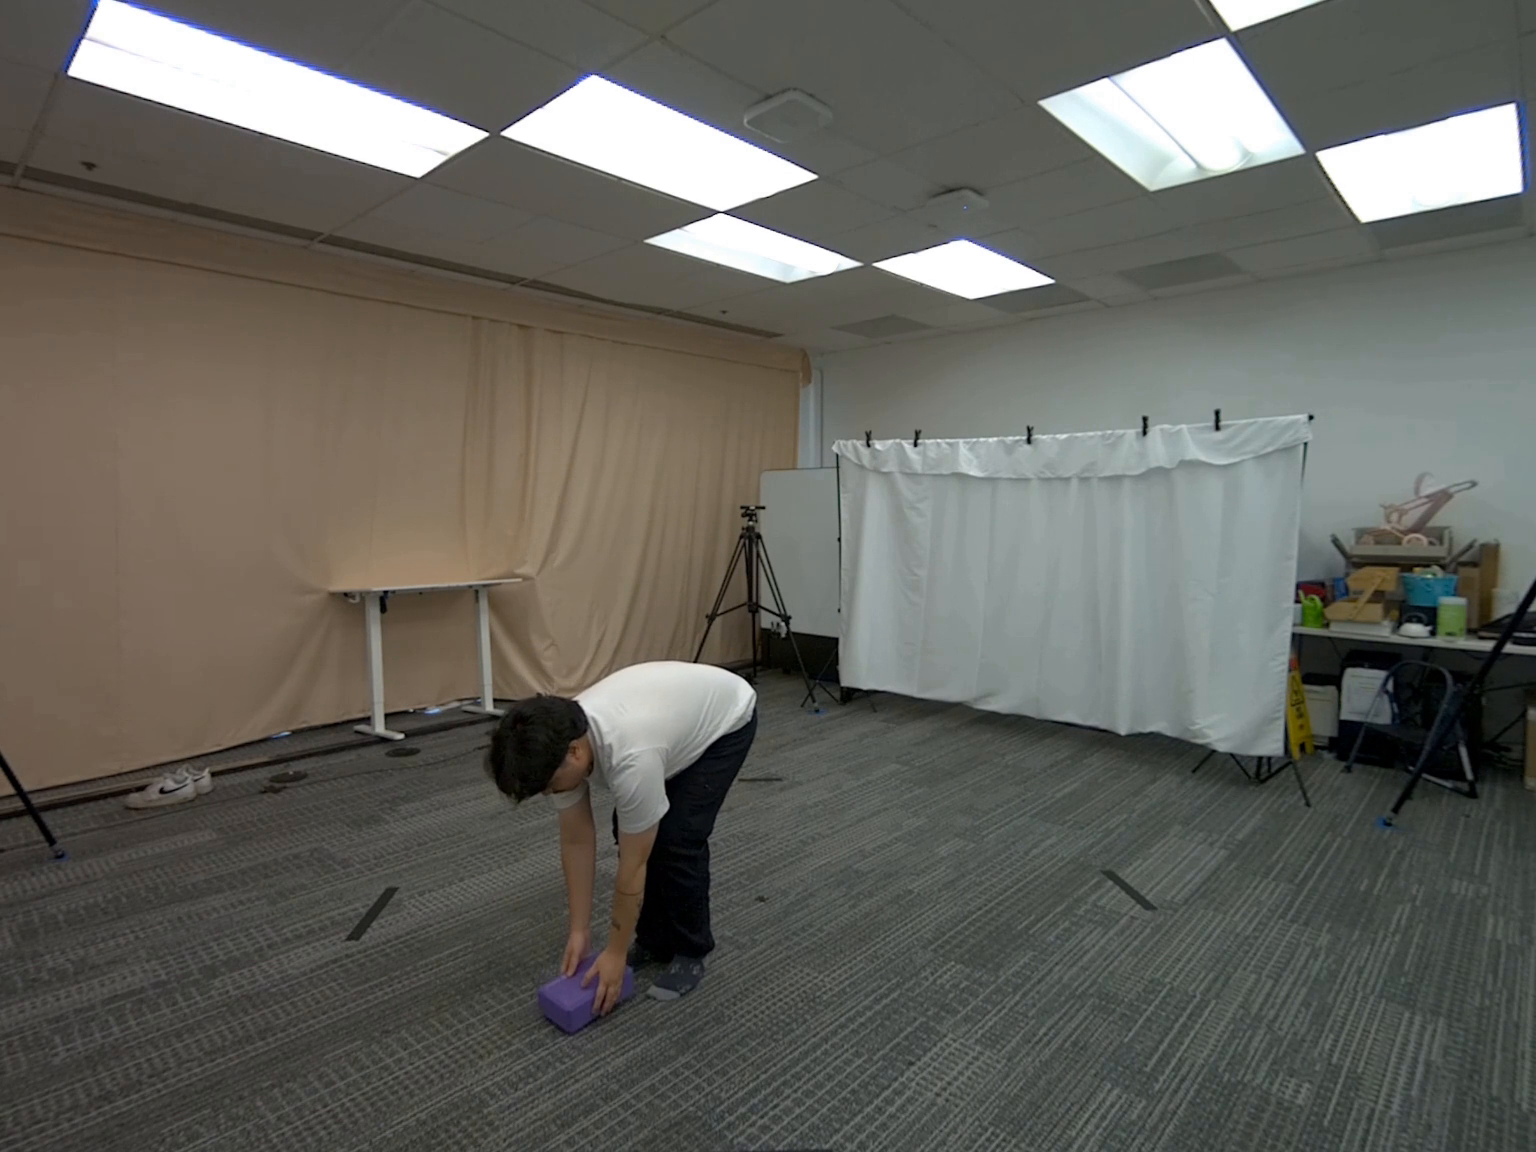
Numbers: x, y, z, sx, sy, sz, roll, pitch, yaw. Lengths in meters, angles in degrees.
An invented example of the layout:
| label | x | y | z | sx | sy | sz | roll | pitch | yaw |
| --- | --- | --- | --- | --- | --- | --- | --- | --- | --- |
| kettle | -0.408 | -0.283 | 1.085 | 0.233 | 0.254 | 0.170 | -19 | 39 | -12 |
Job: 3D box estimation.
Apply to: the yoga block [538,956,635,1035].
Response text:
| label | x | y | z | sx | sy | sz | roll | pitch | yaw |
| --- | --- | --- | --- | --- | --- | --- | --- | --- | --- |
| yoga block | -0.503 | 1.142 | 2.322 | 0.154 | 0.076 | 0.223 | 4 | 11 | 41 |
